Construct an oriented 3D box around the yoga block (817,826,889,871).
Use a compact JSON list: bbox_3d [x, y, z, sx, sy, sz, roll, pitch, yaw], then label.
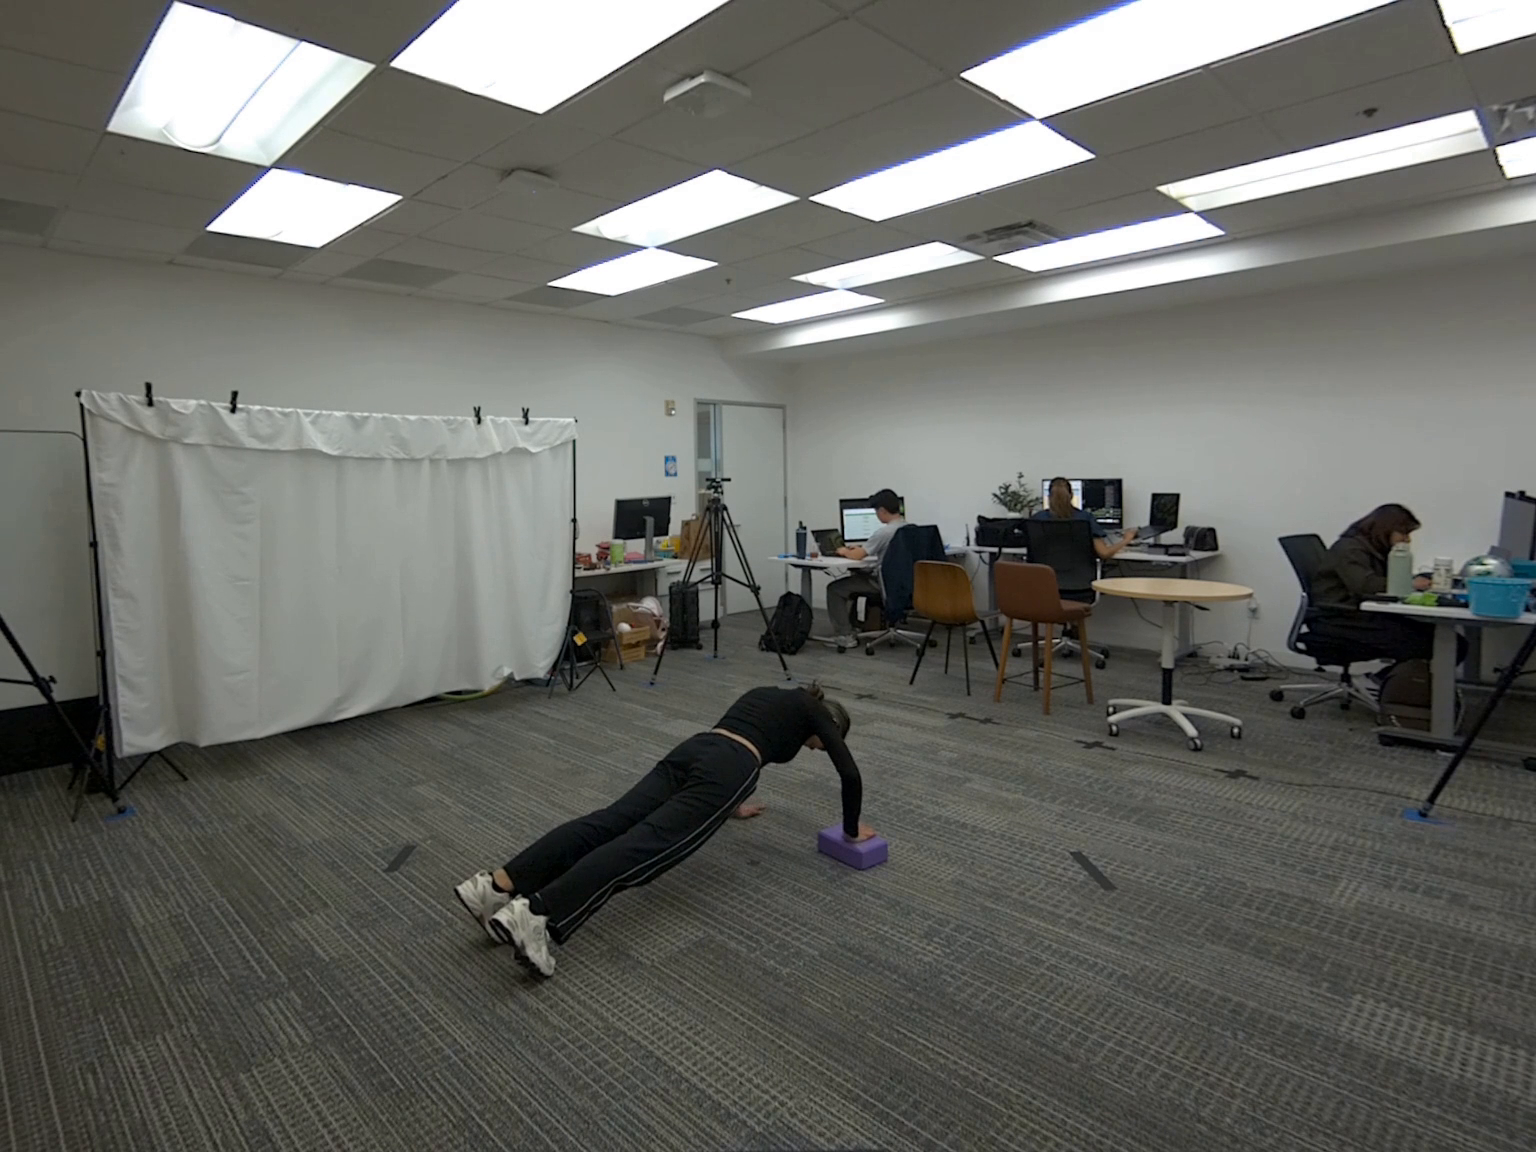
[{"bbox_3d":[0.311,0.993,3.152,0.145,0.076,0.236,-6,9,-38],"label":"yoga block"}]
